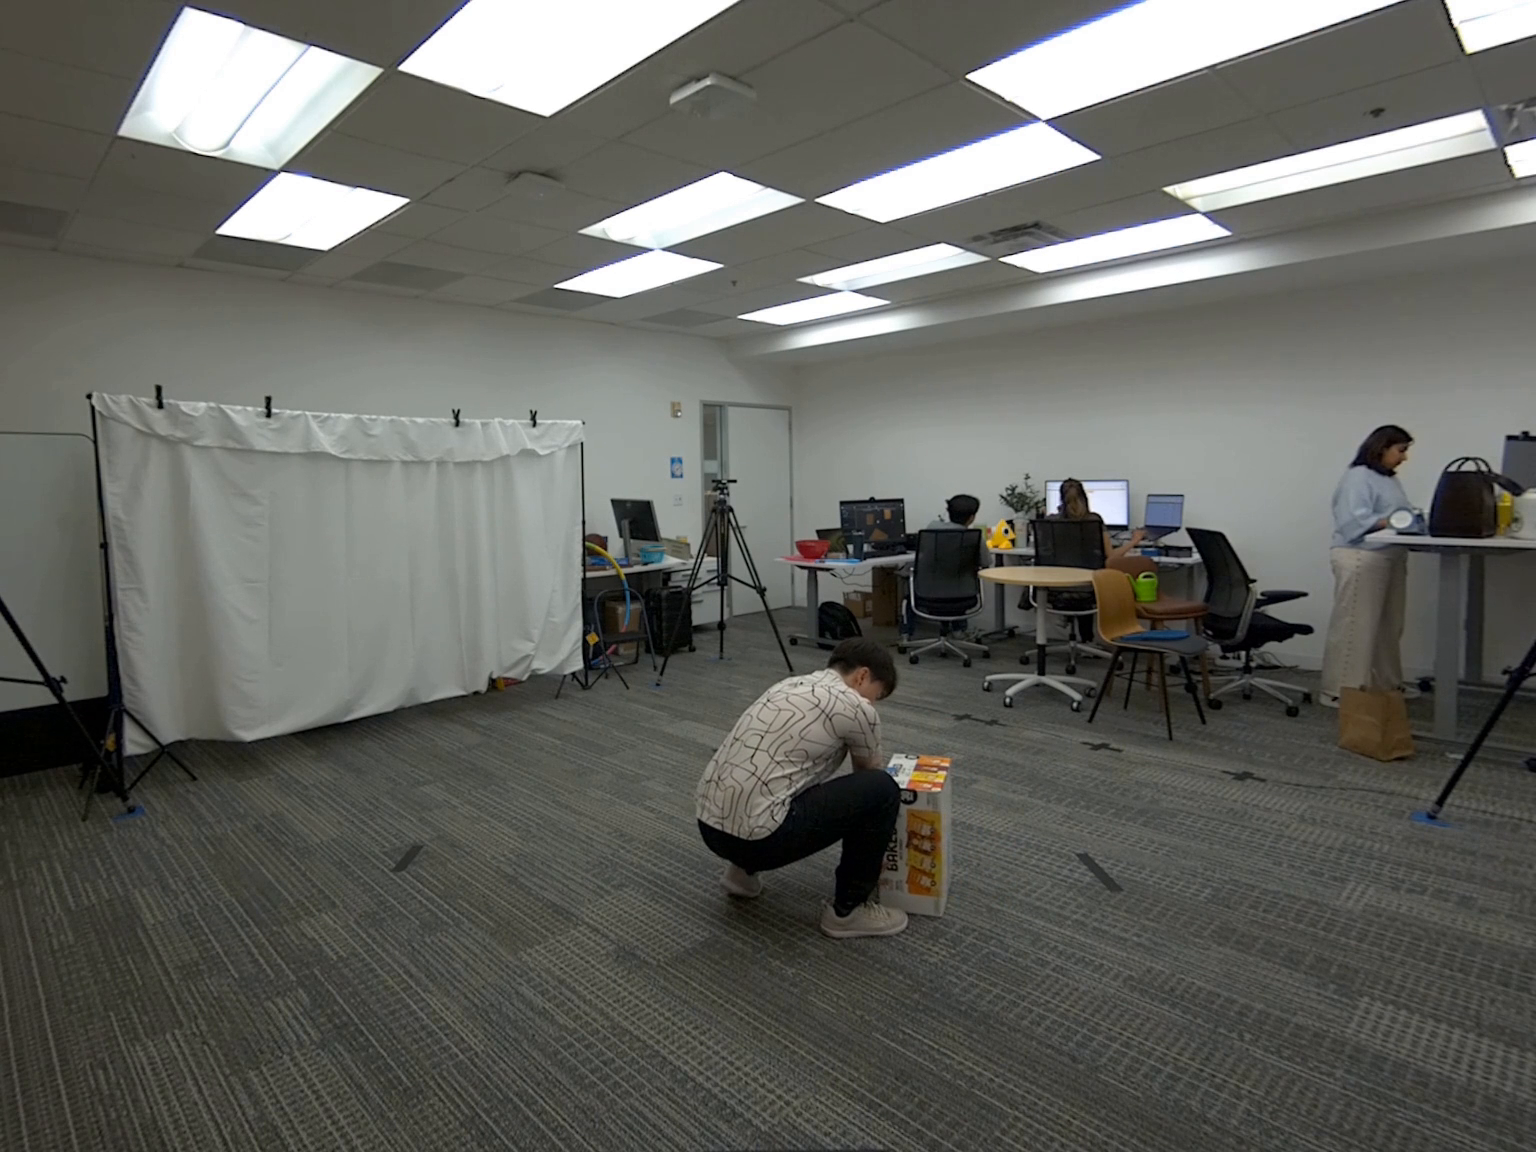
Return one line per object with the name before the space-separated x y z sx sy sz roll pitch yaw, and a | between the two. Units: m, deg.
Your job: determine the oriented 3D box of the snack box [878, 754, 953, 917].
snack box | 0.502 0.854 2.882 0.209 0.404 0.335 0 4 19
